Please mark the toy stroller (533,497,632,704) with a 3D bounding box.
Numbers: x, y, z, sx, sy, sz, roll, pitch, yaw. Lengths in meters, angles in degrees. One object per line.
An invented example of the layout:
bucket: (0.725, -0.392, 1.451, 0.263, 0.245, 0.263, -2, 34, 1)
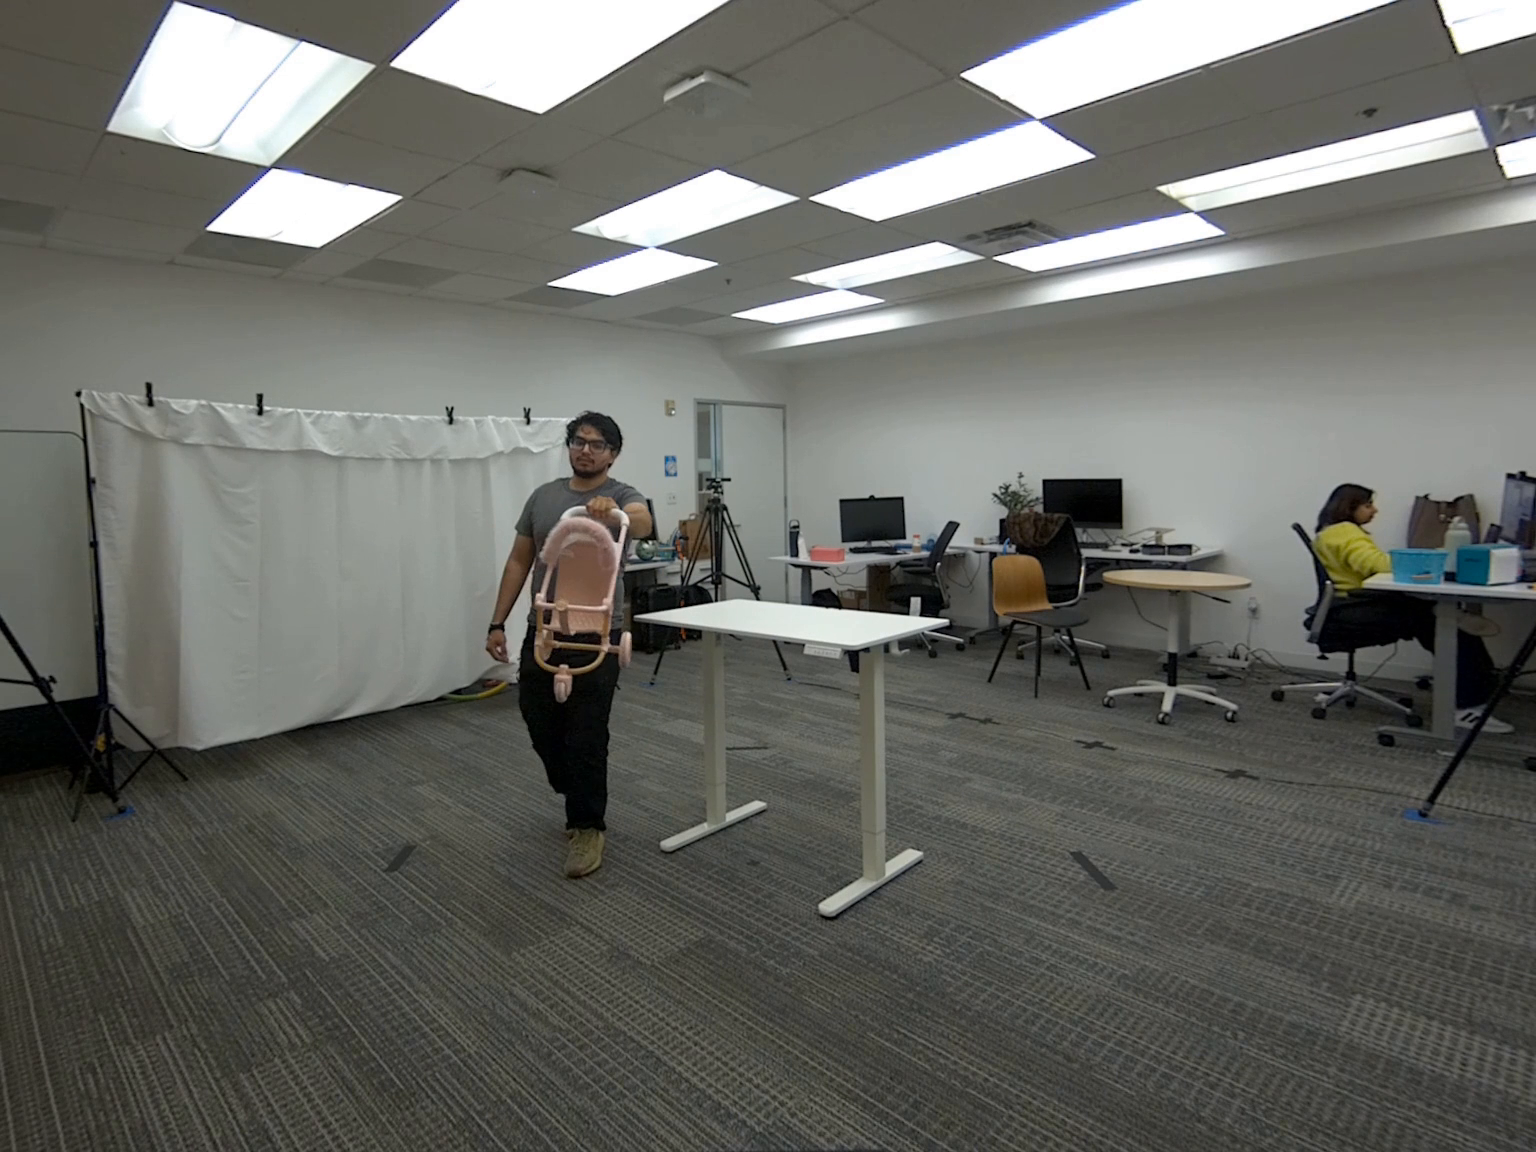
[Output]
toy stroller: (-0.547, 0.076, 2.448, 0.284, 0.534, 0.339, 5, 2, 6)
